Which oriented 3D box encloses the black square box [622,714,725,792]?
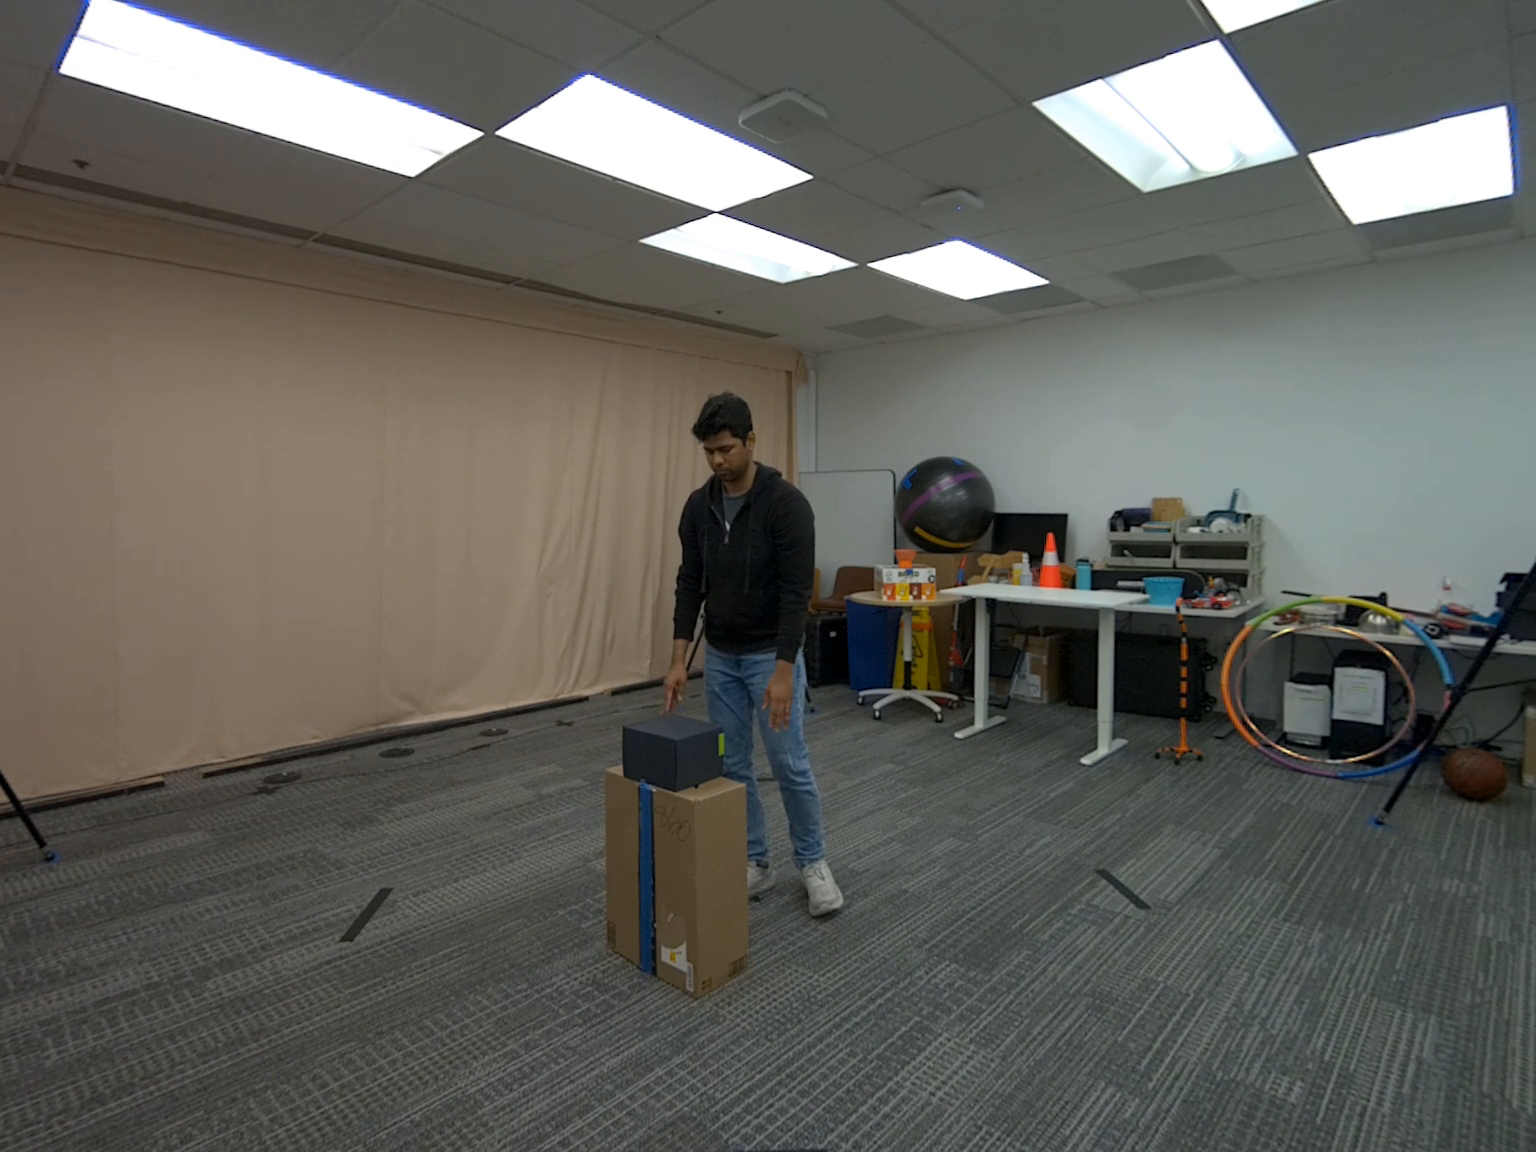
[{"bbox_3d":[-0.286,0.532,2.573,0.235,0.155,0.210,3,5,39],"label":"black square box"}]
